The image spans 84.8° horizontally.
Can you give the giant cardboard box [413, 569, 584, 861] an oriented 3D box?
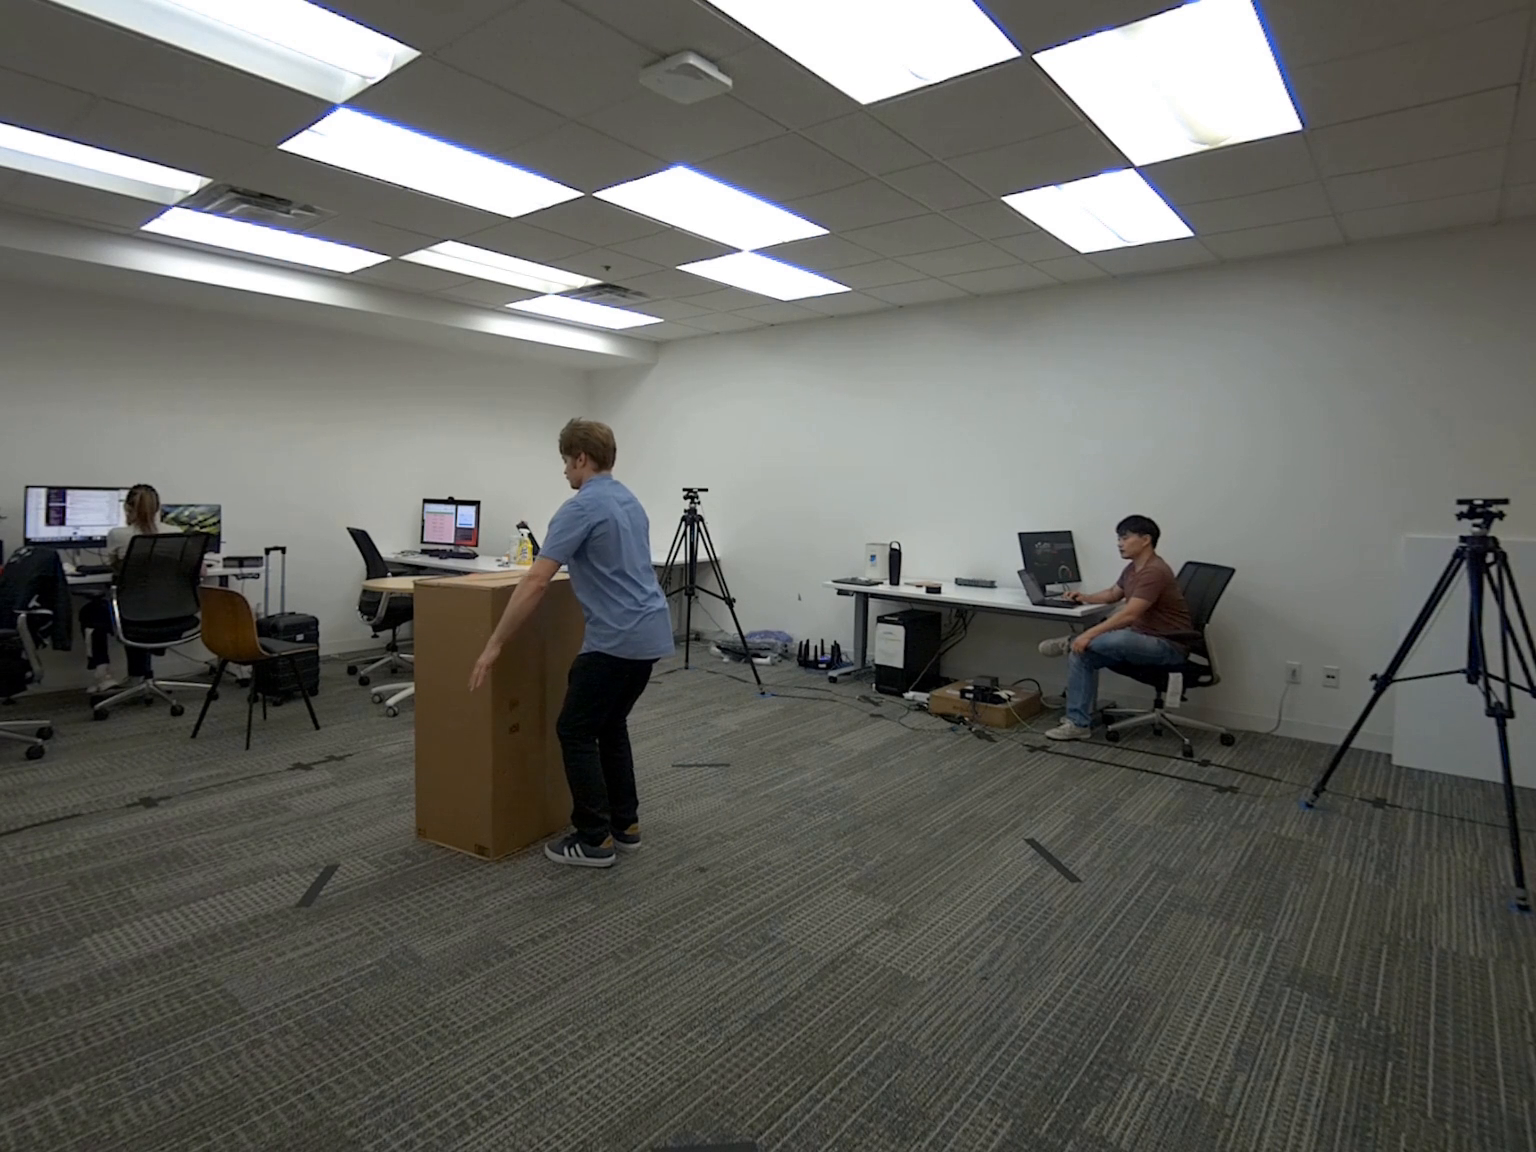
[{"bbox_3d":[-1.083,0.512,3.457,0.439,1.023,0.563,2,4,30],"label":"giant cardboard box"}]
